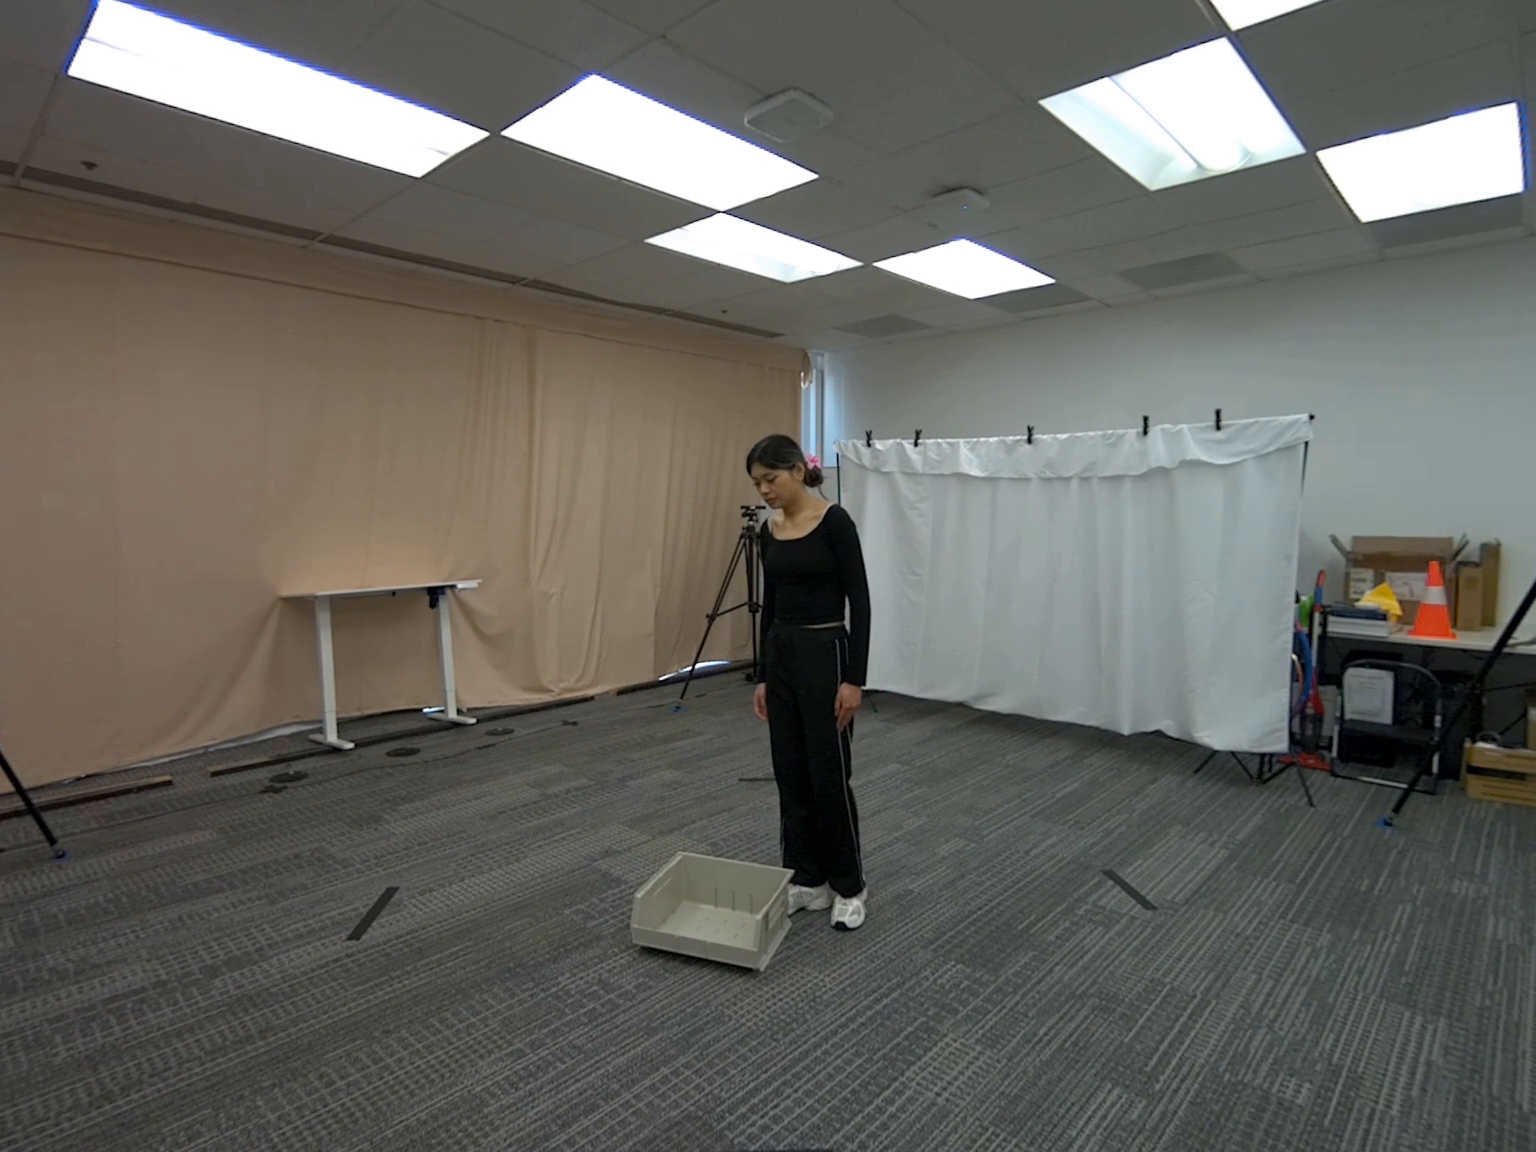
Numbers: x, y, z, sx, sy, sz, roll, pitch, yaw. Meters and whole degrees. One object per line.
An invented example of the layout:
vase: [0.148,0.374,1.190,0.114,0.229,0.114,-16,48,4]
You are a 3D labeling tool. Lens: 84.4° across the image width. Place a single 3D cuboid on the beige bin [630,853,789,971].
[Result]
beige bin: [-0.169,1.082,2.707,0.431,0.188,0.370,1,4,20]
